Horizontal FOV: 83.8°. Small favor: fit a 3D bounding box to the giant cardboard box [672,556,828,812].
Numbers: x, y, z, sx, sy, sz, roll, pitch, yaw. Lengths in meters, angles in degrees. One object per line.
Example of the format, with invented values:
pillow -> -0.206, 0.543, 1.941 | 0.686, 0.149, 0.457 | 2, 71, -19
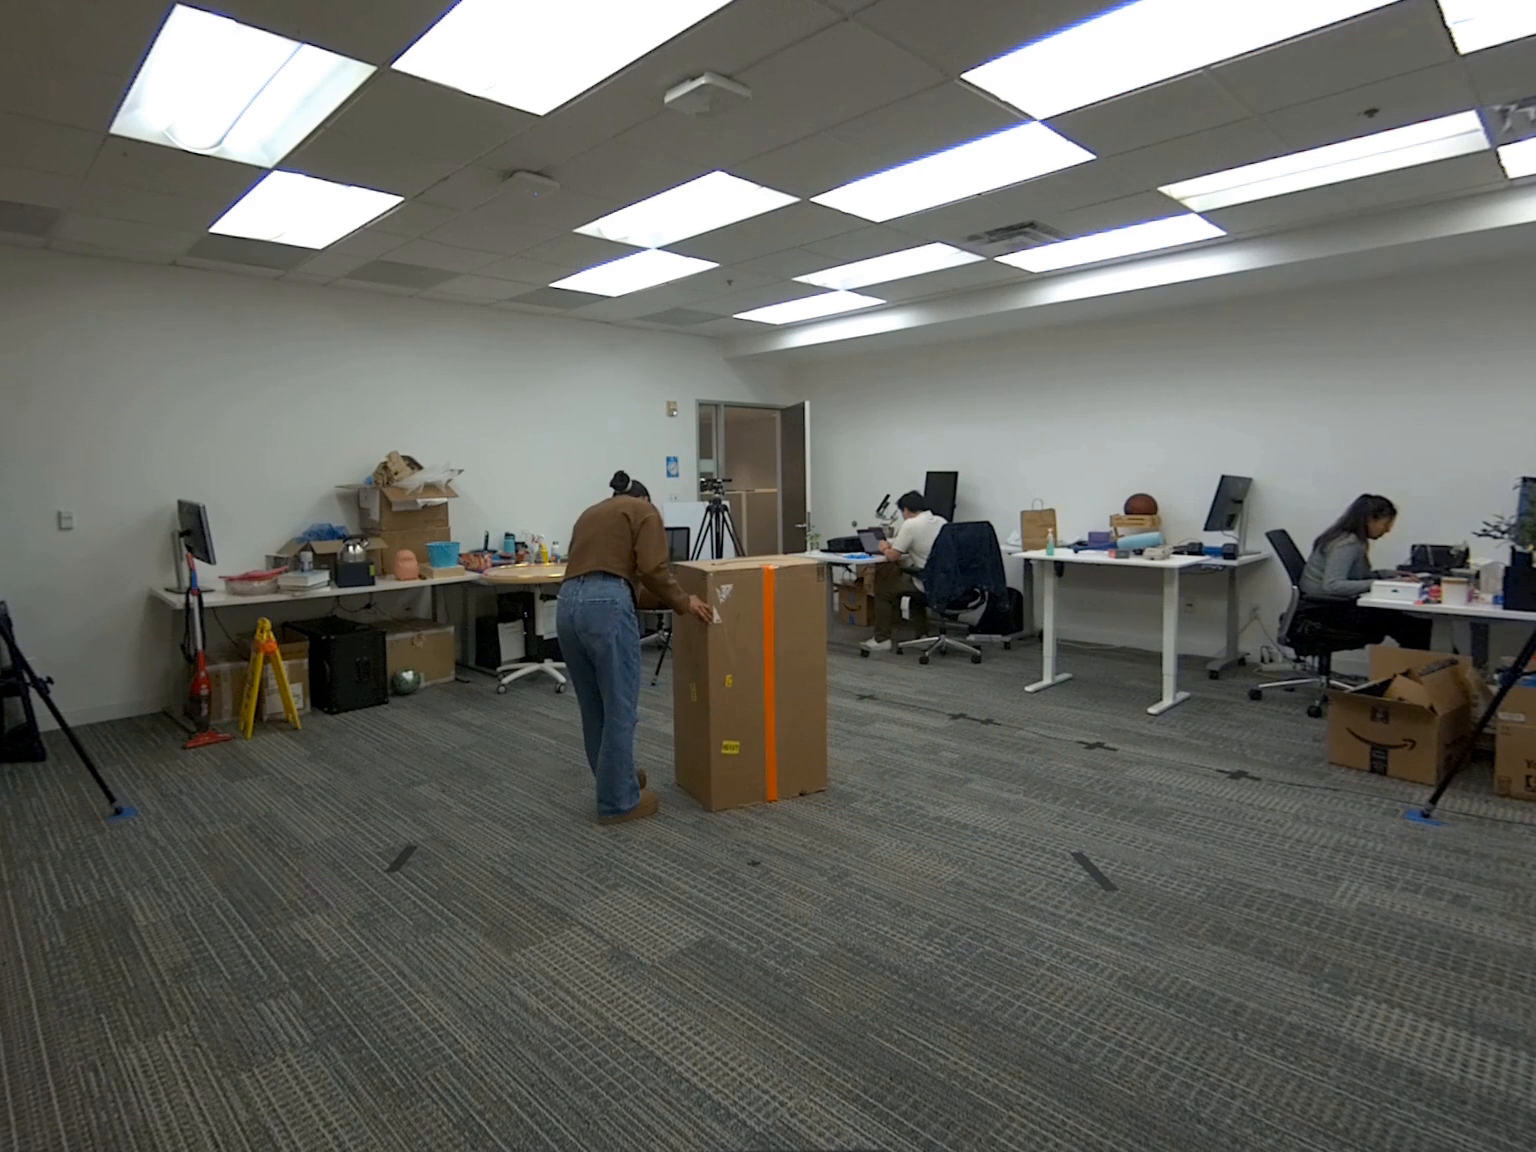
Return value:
giant cardboard box -> -0.089, 0.448, 3.863 | 0.565, 1.022, 0.437 | -3, 5, -25
